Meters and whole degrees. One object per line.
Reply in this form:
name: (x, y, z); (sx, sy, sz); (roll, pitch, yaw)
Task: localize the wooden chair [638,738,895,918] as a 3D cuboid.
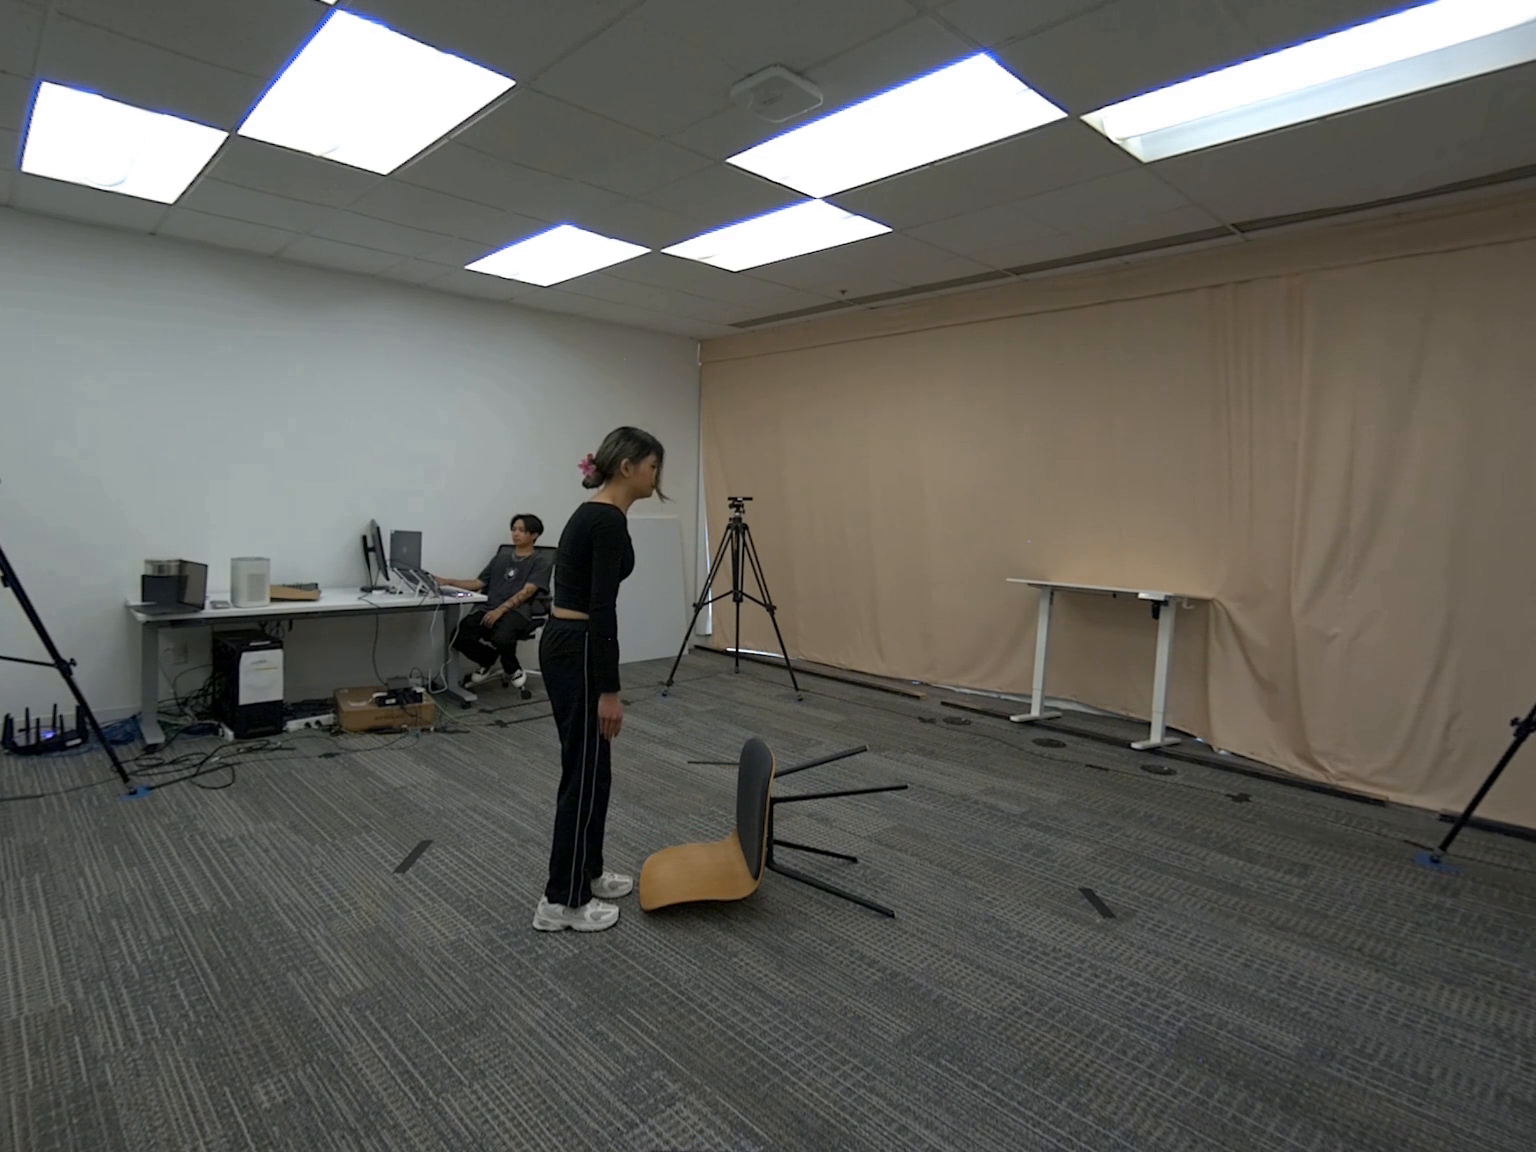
wooden chair: (-0.019, 0.863, 2.962); (0.871, 0.522, 0.483); (0, 4, -9)
